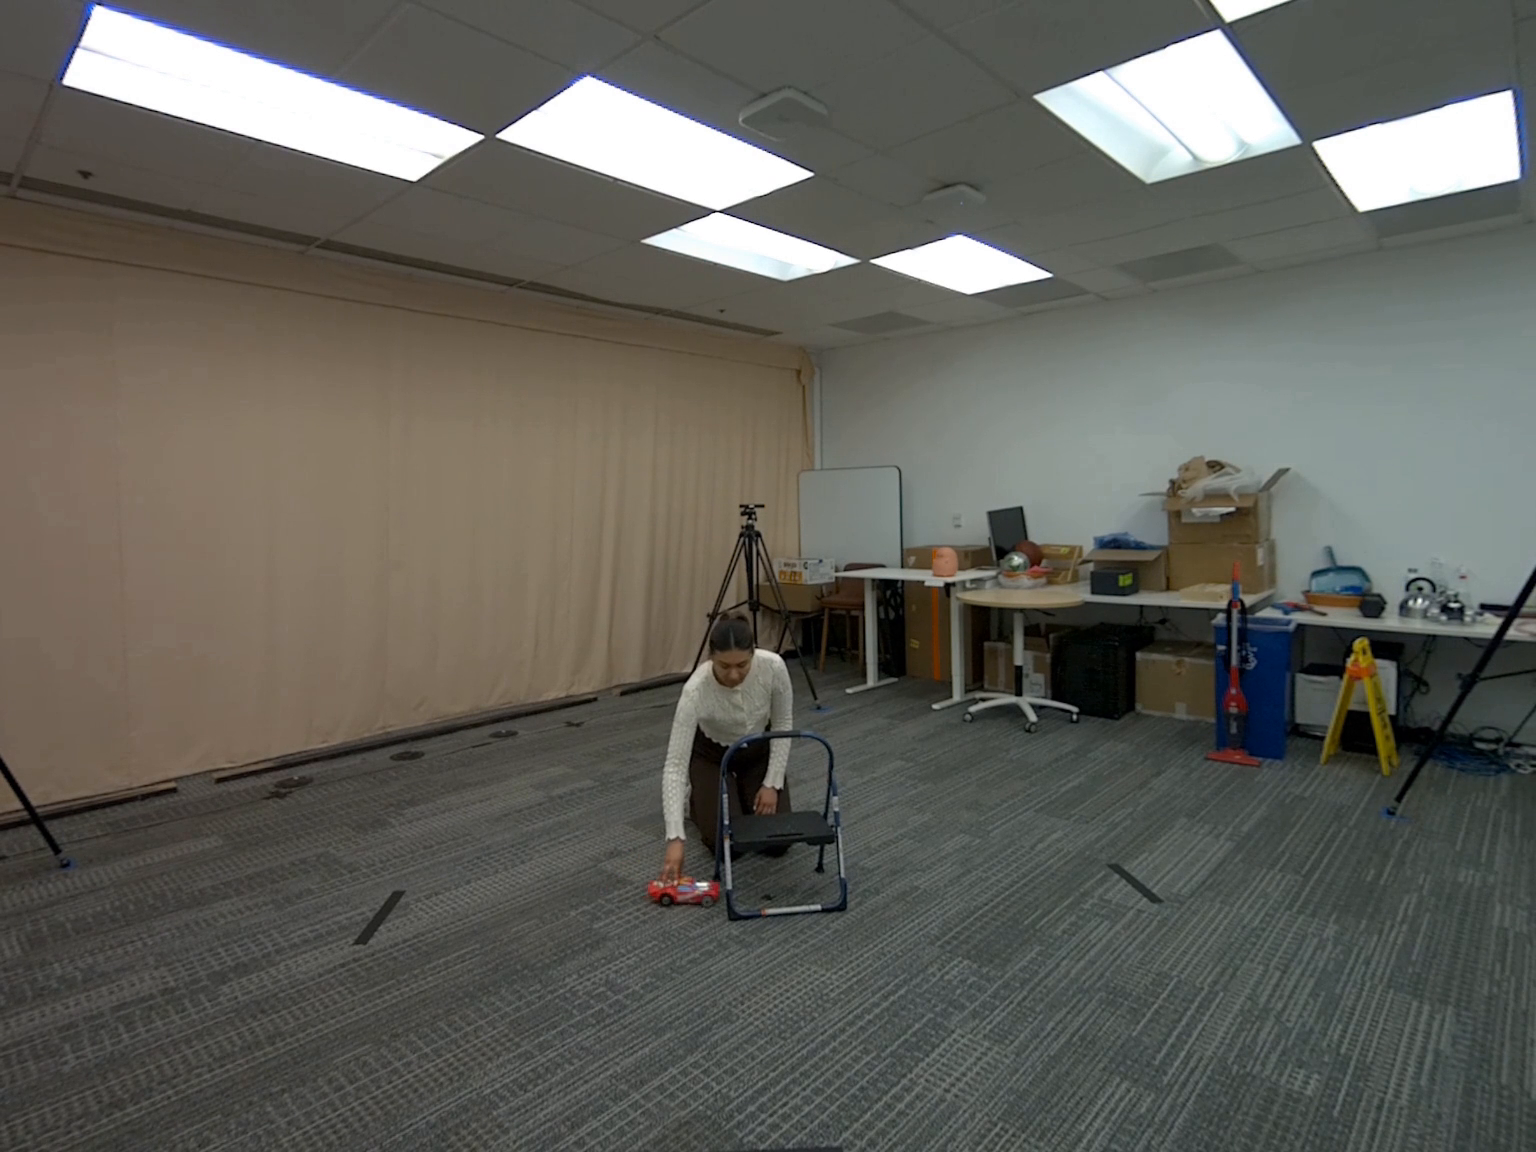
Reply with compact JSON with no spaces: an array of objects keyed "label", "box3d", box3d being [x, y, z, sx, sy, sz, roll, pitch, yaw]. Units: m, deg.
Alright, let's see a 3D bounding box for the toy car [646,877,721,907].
[{"label":"toy car","box3d":[-0.292,1.116,2.982,0.255,0.083,0.130,9,4,2]}]
